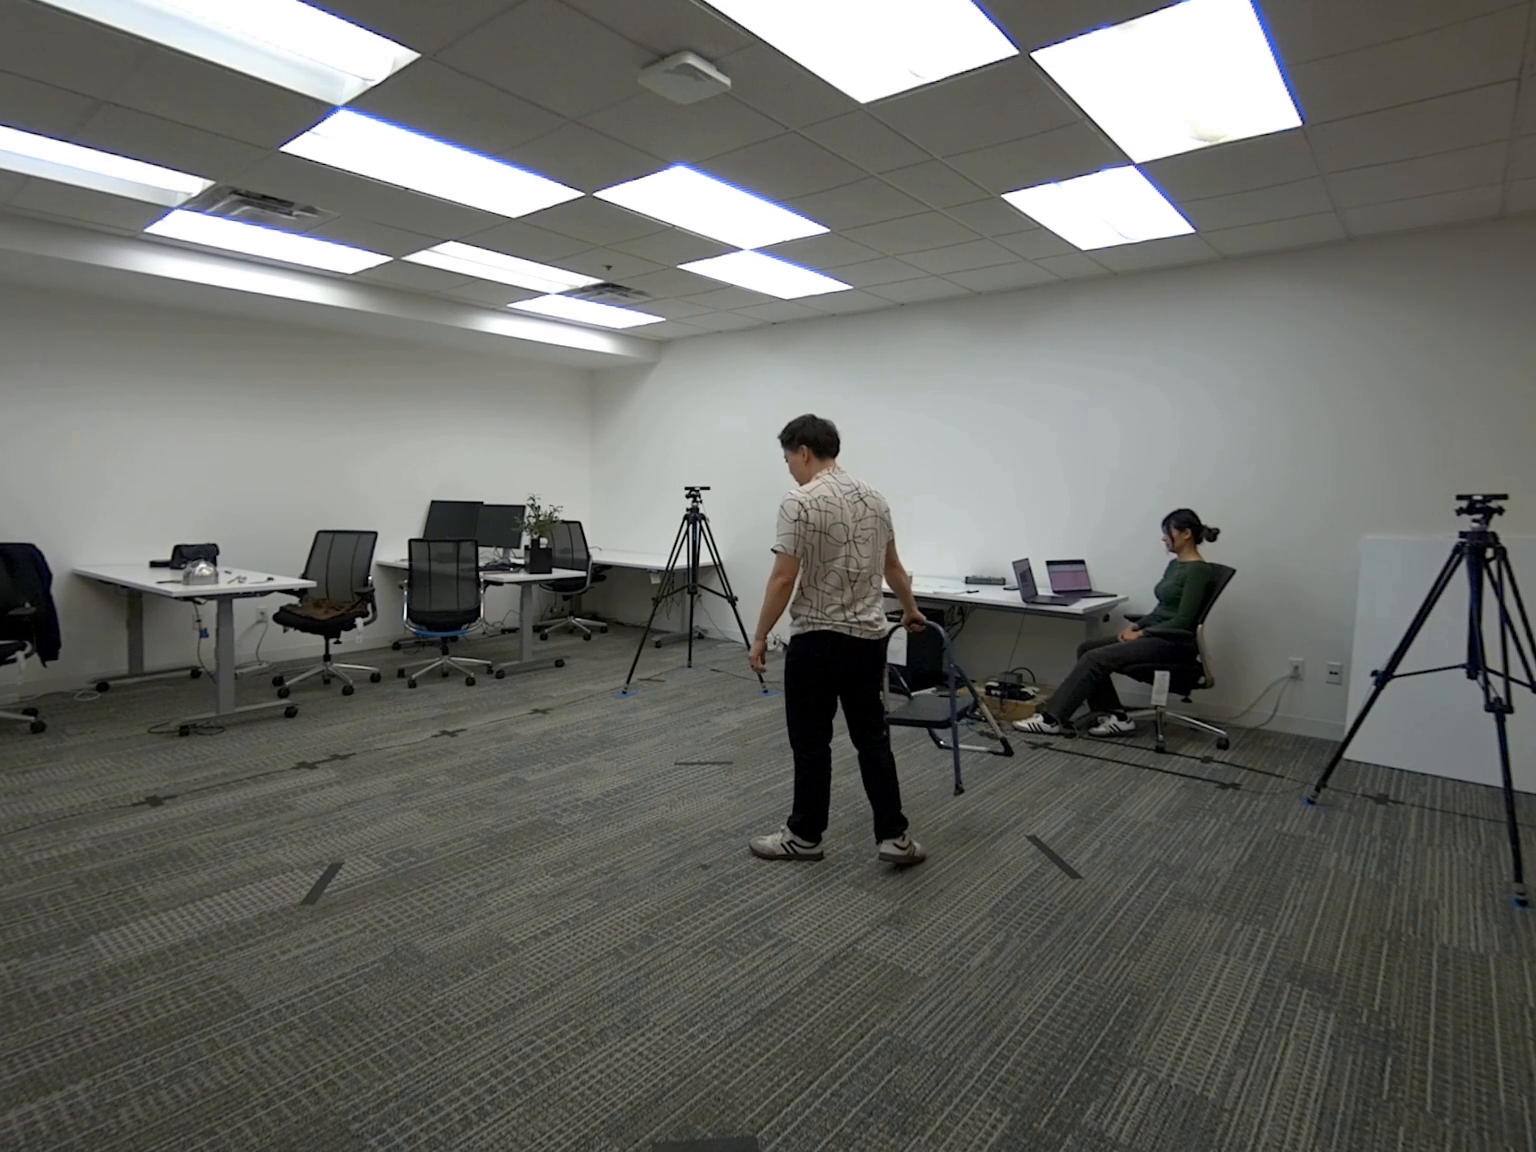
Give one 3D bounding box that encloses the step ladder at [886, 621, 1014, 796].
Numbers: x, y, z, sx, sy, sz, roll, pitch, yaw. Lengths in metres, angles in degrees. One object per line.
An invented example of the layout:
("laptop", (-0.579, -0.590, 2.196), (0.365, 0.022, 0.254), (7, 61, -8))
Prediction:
("step ladder", (0.615, 0.498, 3.427), (0.343, 0.603, 0.440), (-22, 5, -32))
